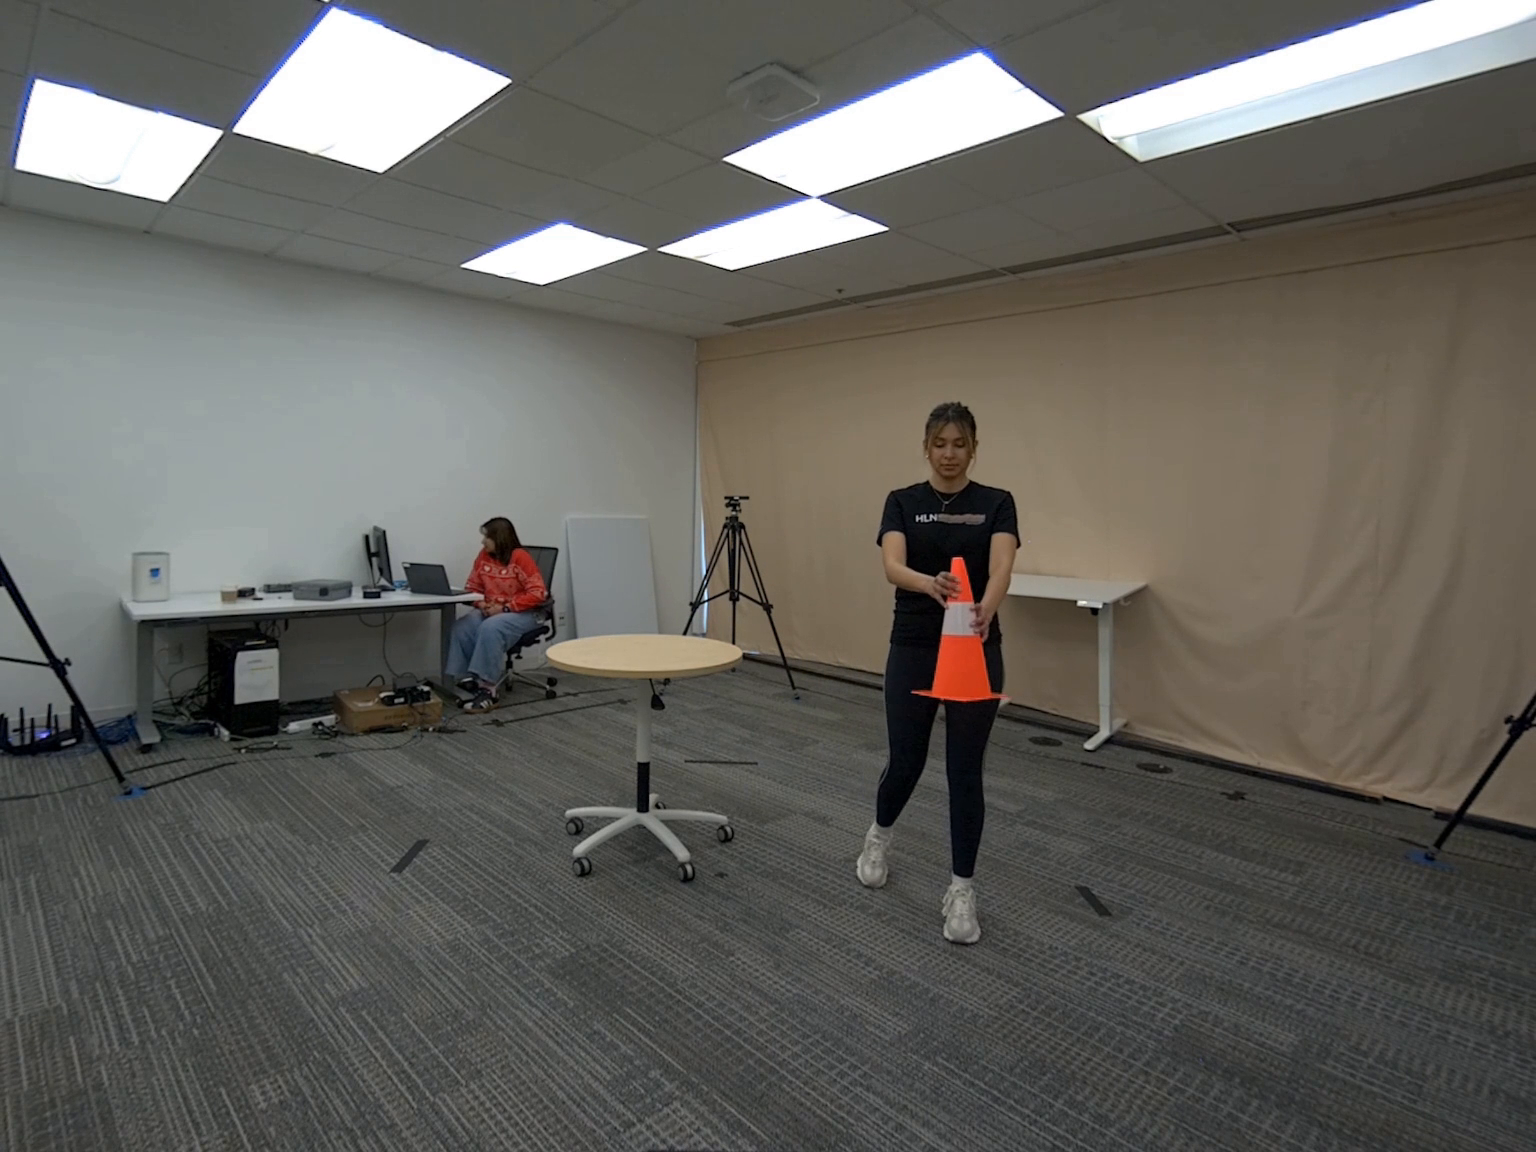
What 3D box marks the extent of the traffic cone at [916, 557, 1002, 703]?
[{"bbox_3d":[0.526,0.149,2.335,0.207,0.384,0.201,-3,-1,23],"label":"traffic cone"}]
